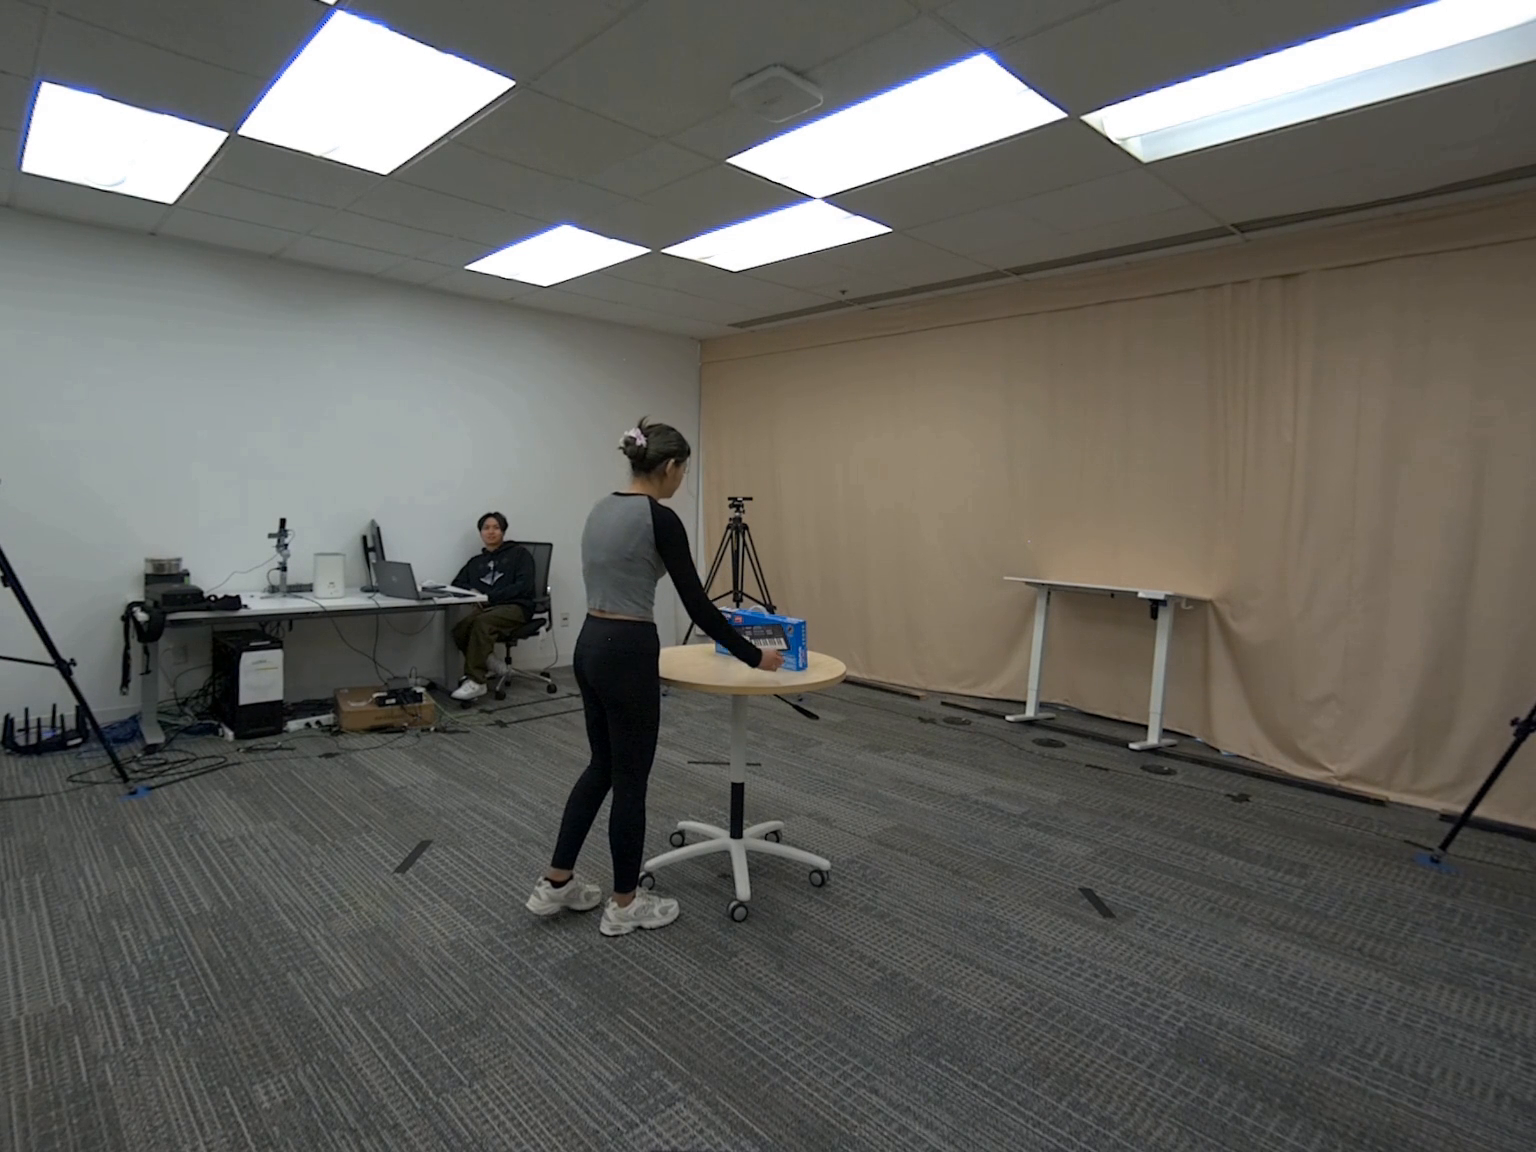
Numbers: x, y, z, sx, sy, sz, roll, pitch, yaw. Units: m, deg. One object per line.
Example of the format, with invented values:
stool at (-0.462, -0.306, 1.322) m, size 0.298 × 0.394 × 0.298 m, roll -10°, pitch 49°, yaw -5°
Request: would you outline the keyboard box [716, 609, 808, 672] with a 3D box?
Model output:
keyboard box at (-0.041, 0.229, 3.121) m, size 0.058 × 0.175 × 0.448 m, roll -8°, pitch 11°, yaw -42°
